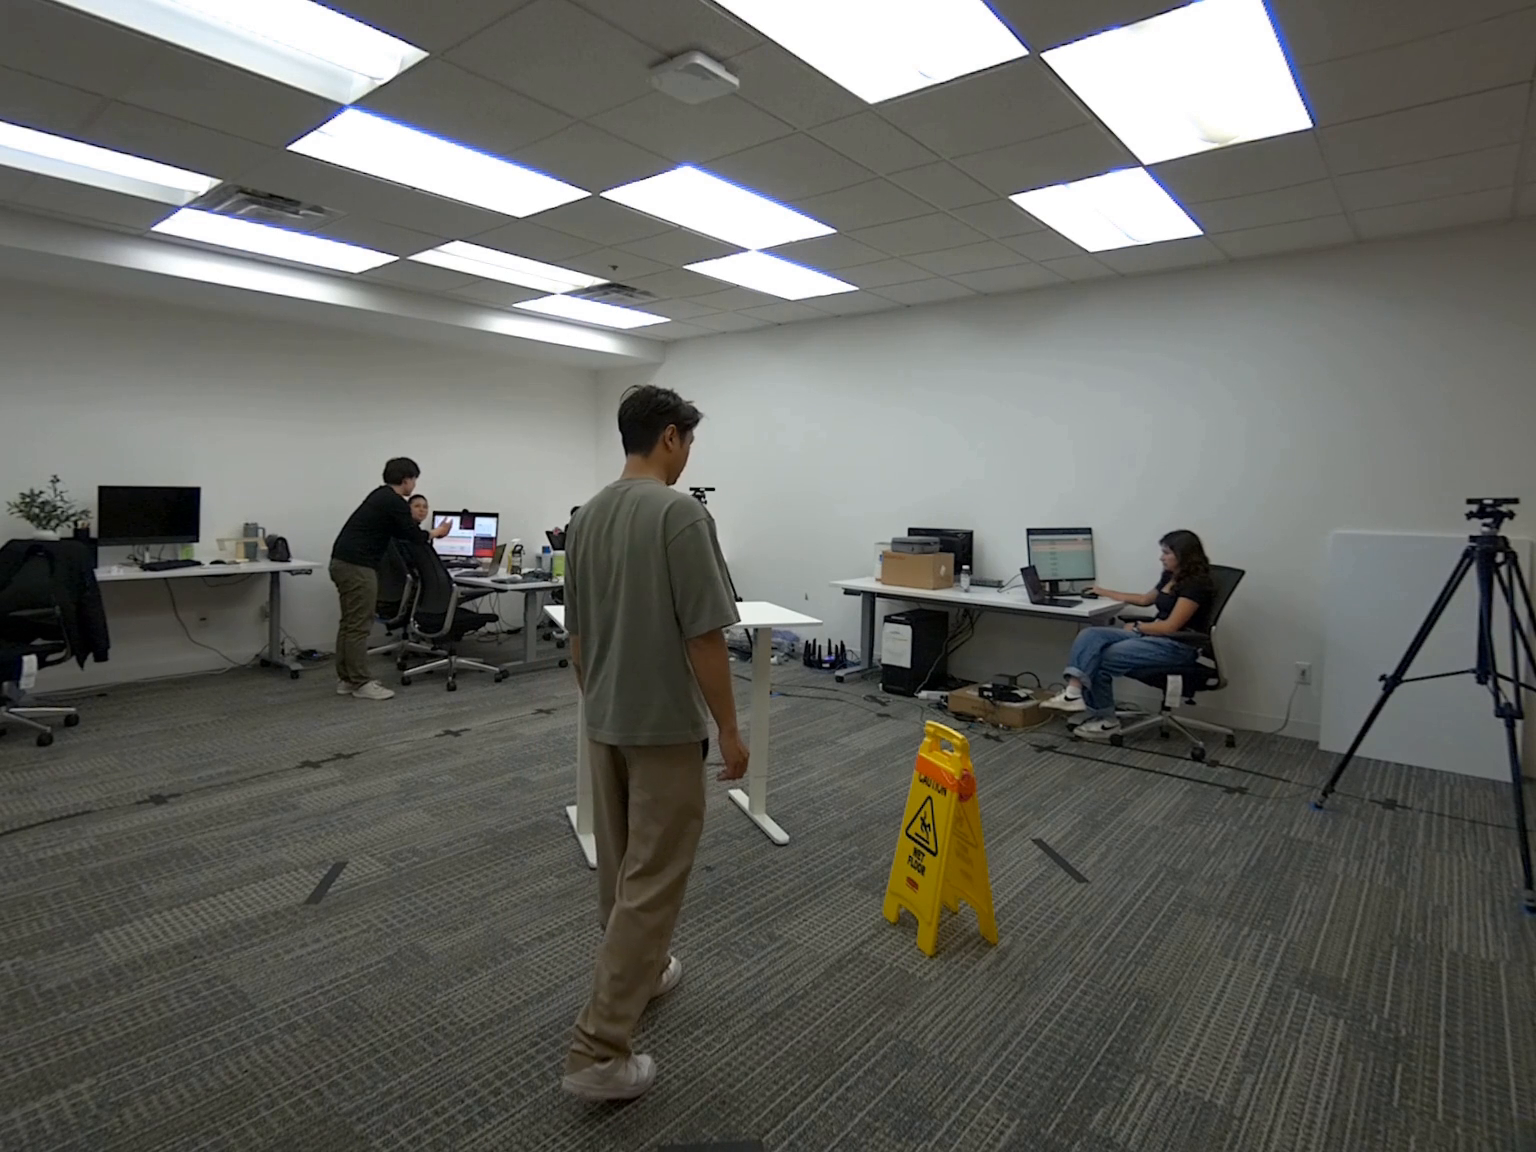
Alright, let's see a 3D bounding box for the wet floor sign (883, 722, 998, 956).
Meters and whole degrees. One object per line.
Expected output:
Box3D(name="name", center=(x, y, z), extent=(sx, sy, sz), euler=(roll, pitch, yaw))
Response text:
Box3D(name="wet floor sign", center=(0.550, 0.797, 2.703), extent=(0.284, 0.644, 0.289), euler=(1, 4, -21))
